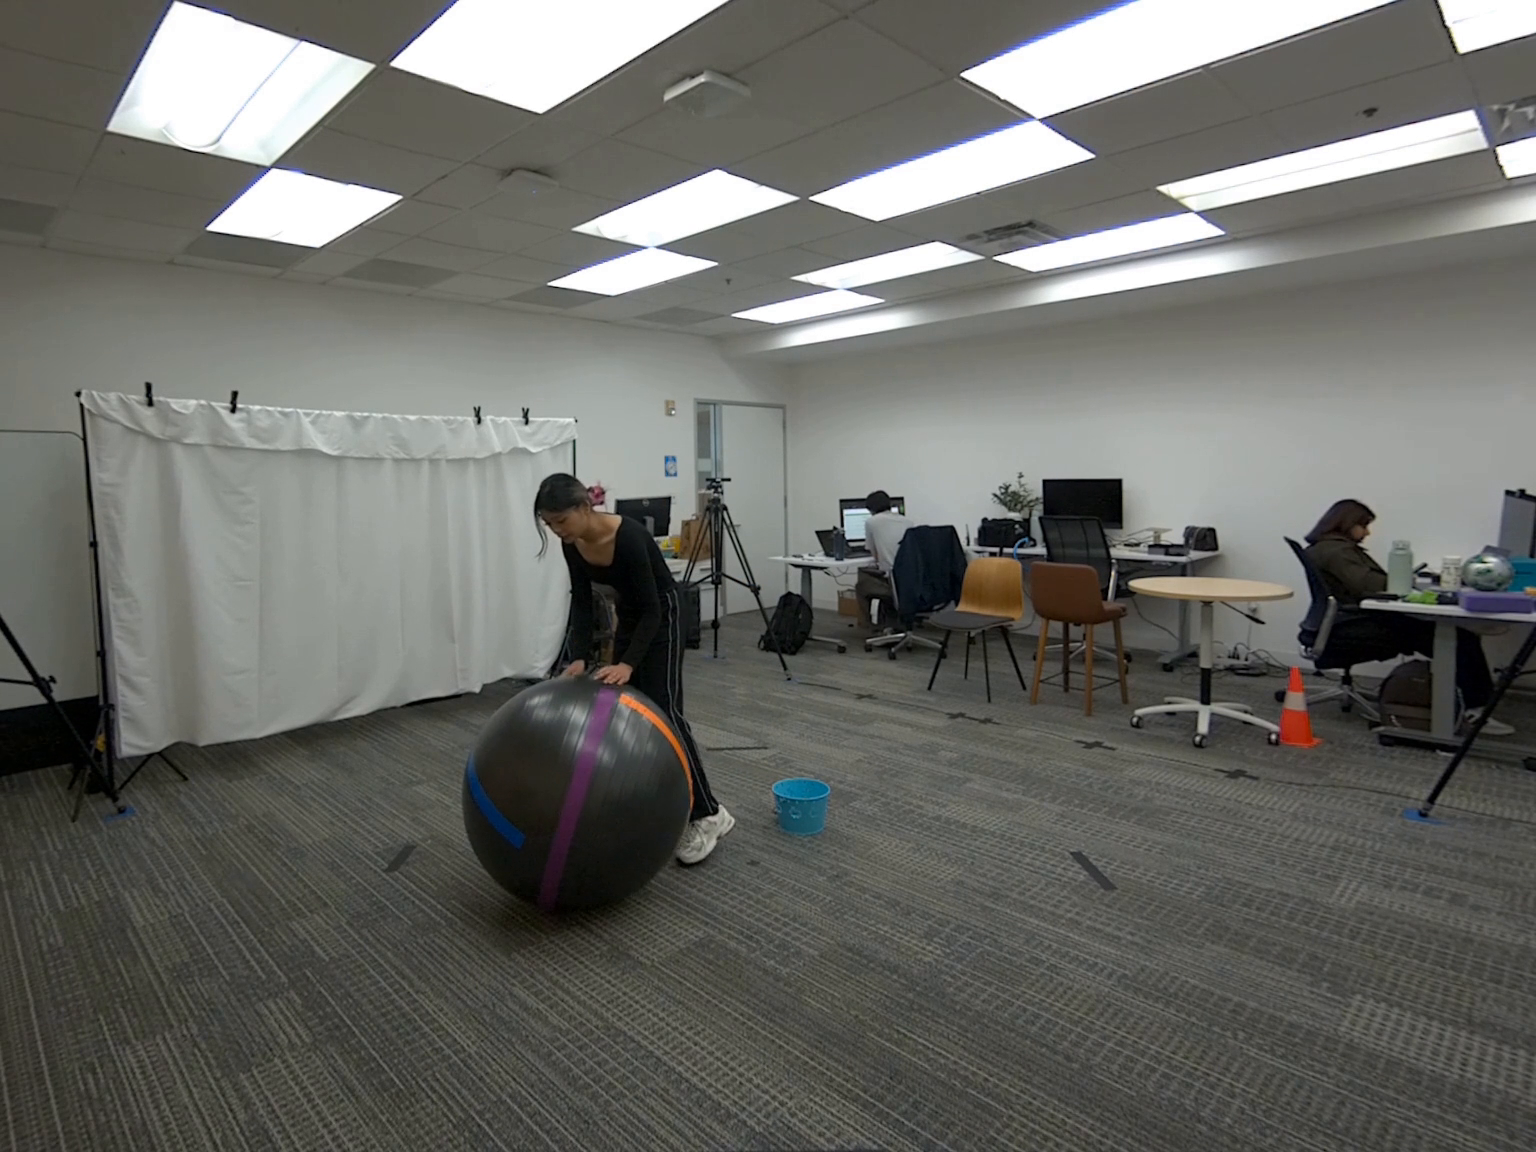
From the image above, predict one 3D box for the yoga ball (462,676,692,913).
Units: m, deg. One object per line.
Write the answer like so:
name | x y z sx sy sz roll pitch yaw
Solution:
yoga ball | -0.639 0.723 2.871 0.757 0.755 0.762 -1 5 -2
